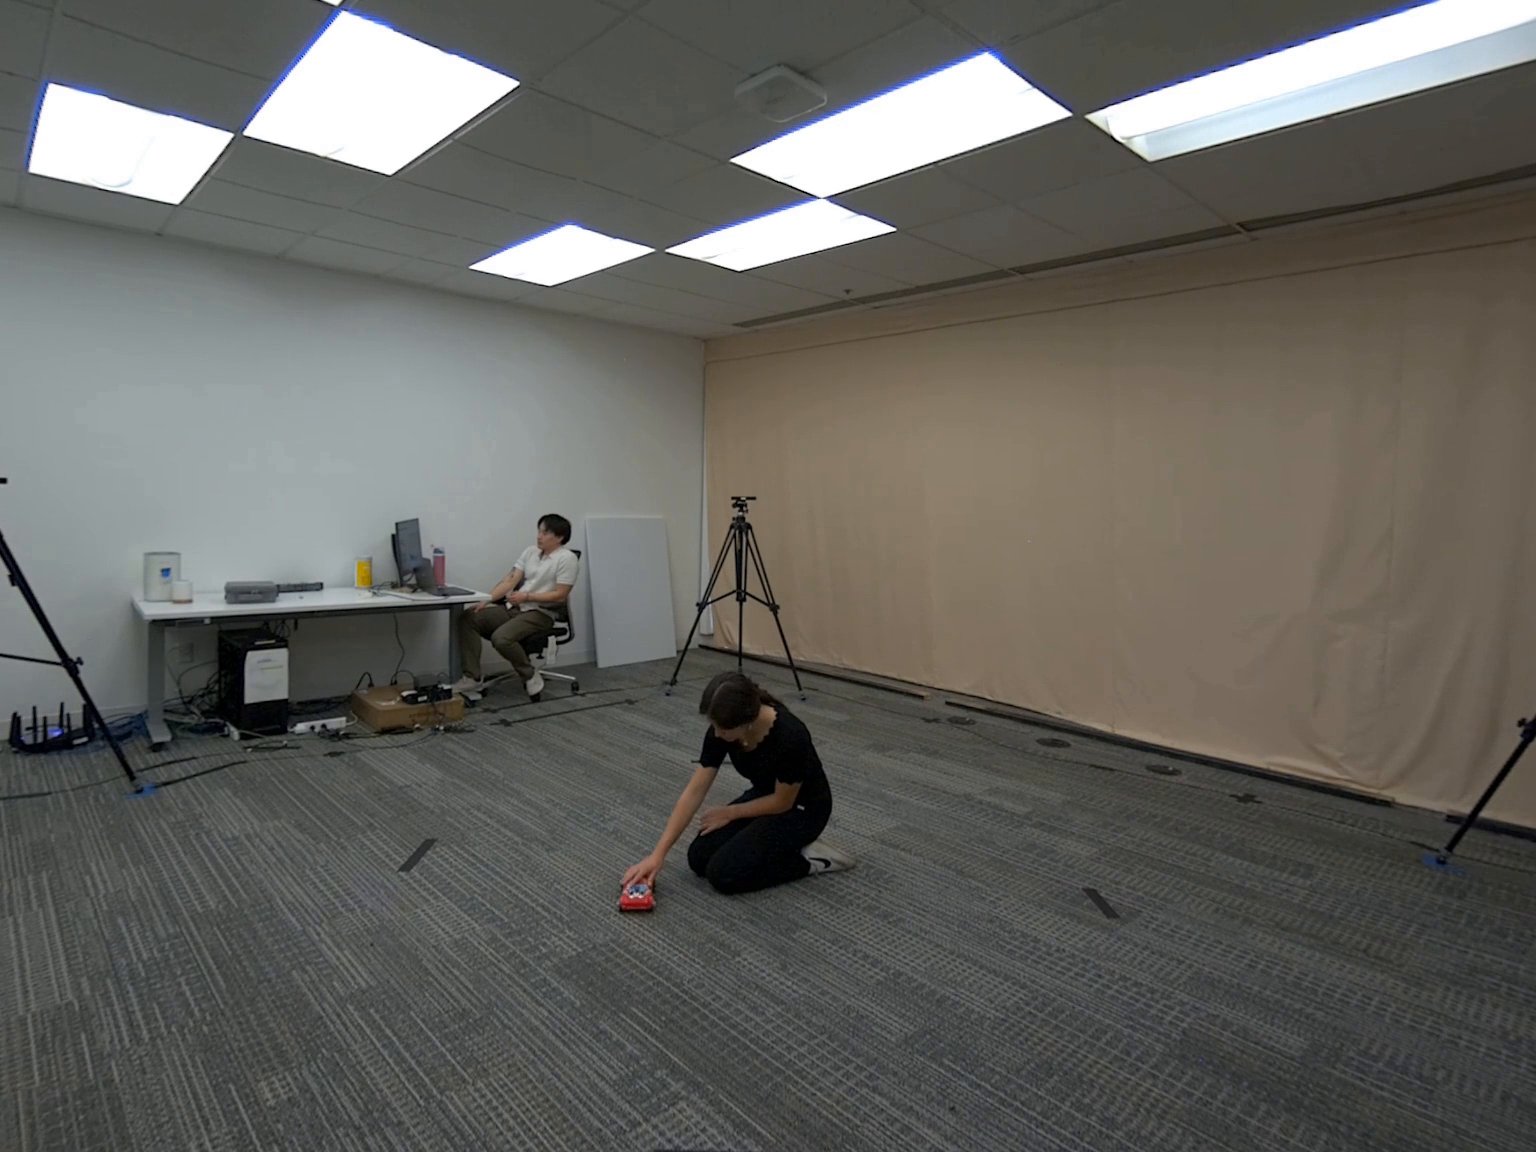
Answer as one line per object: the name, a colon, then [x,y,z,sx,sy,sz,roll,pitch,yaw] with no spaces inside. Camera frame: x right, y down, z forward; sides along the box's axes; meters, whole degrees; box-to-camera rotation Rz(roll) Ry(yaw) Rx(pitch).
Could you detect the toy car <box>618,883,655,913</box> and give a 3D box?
toy car: [-0.456,1.084,2.918,0.130,0.082,0.258,0,16,-6]
